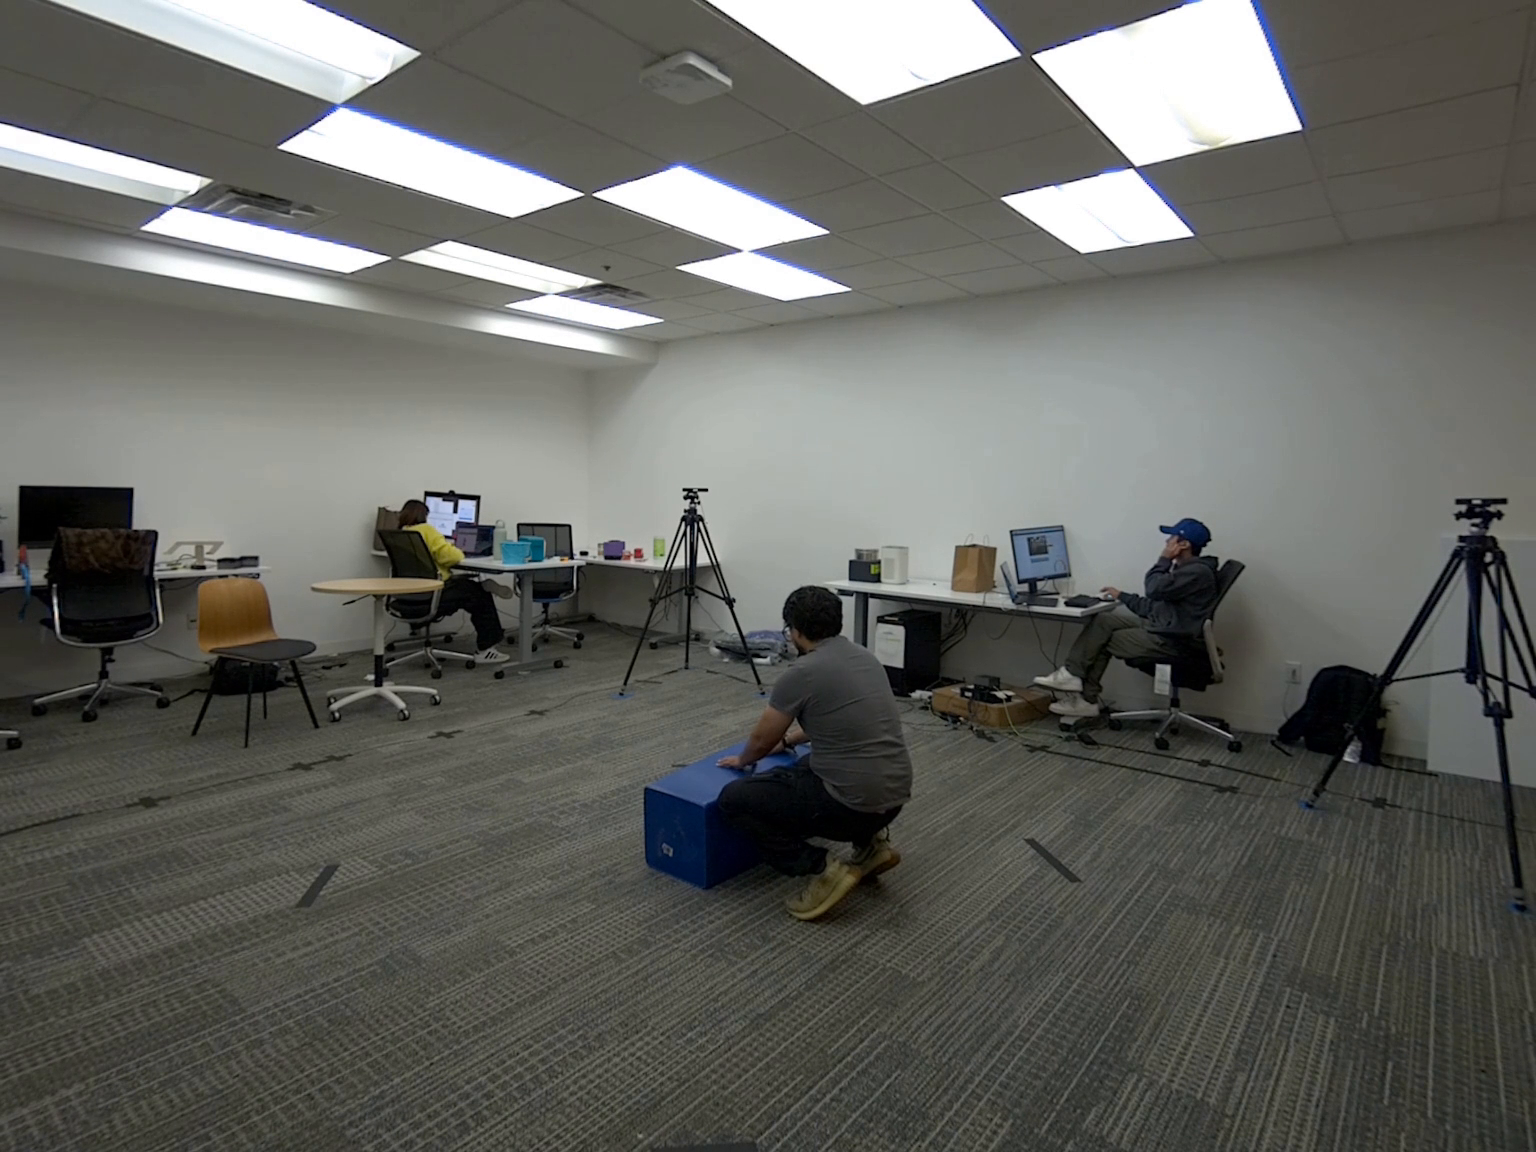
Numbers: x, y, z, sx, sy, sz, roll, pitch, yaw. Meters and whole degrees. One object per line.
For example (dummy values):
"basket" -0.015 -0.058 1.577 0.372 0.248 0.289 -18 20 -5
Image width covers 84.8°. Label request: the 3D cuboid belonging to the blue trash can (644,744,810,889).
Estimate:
"blue trash can" -0.139 0.885 3.296 0.387 0.376 0.694 4 8 39
